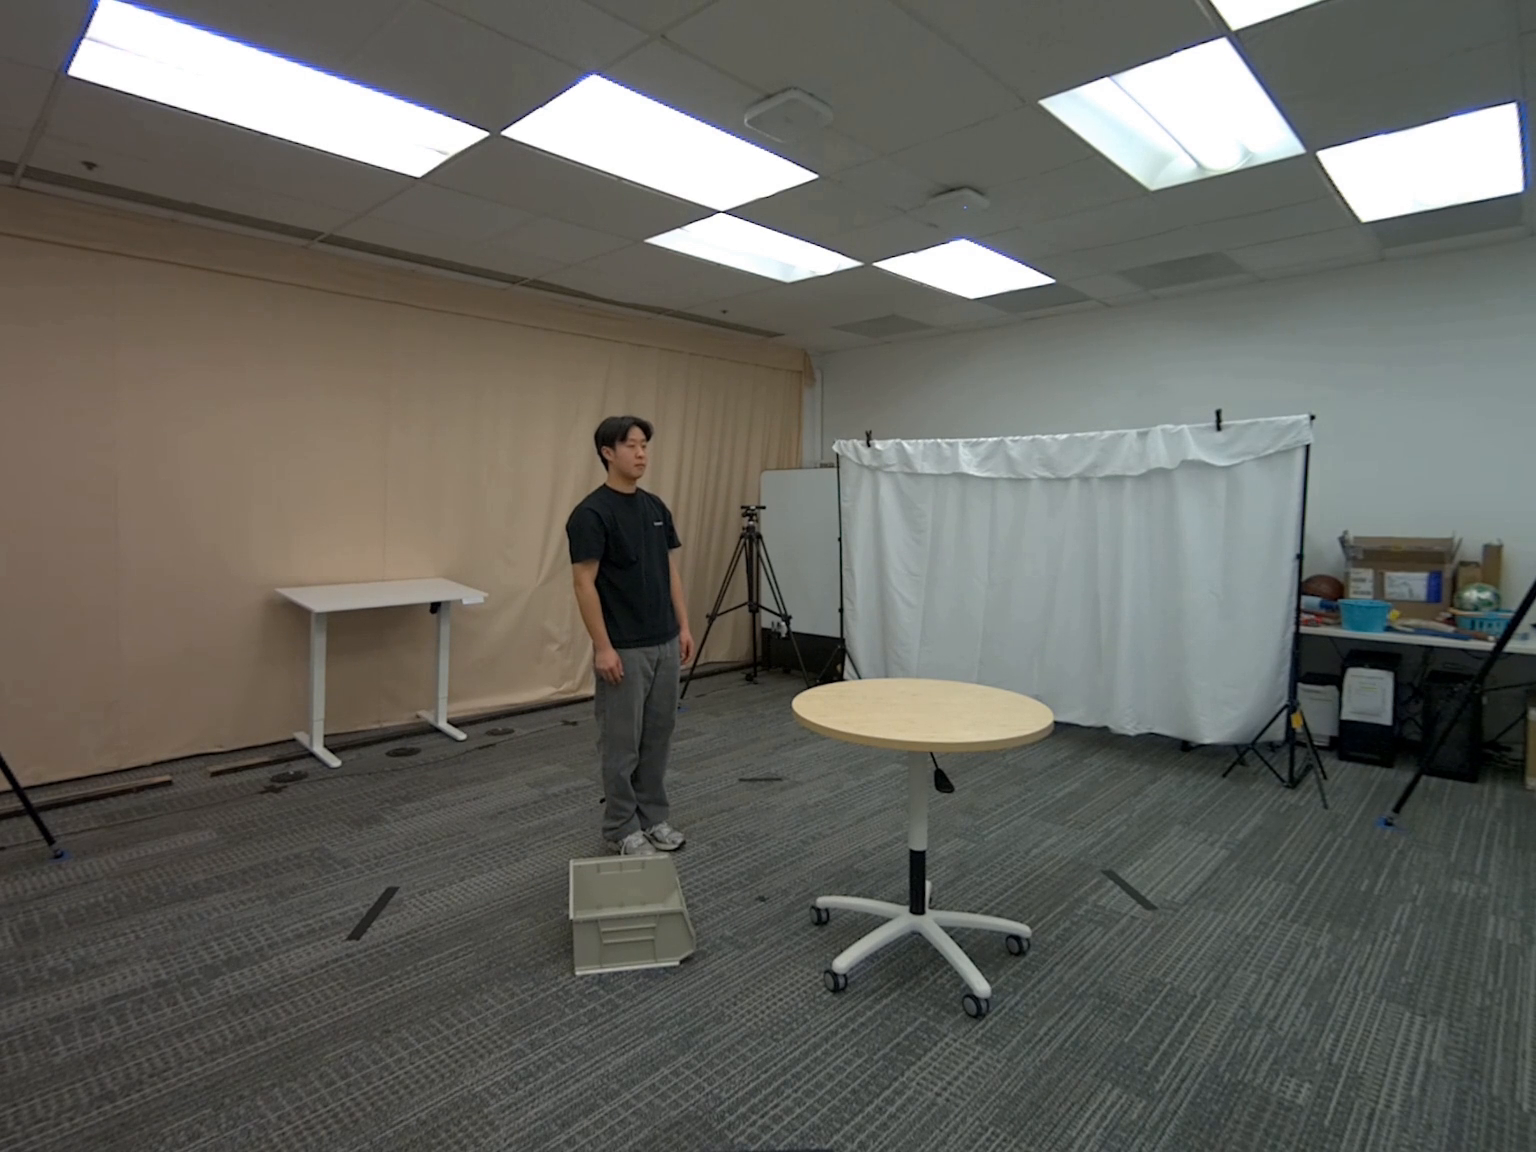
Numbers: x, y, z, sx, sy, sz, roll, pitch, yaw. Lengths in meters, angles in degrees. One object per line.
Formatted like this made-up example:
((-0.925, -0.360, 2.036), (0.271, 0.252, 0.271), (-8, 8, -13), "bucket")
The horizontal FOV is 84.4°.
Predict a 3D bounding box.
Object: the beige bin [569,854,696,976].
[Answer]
((-0.442, 1.085, 2.721), (0.373, 0.188, 0.429), (-3, 6, -13), "beige bin")
